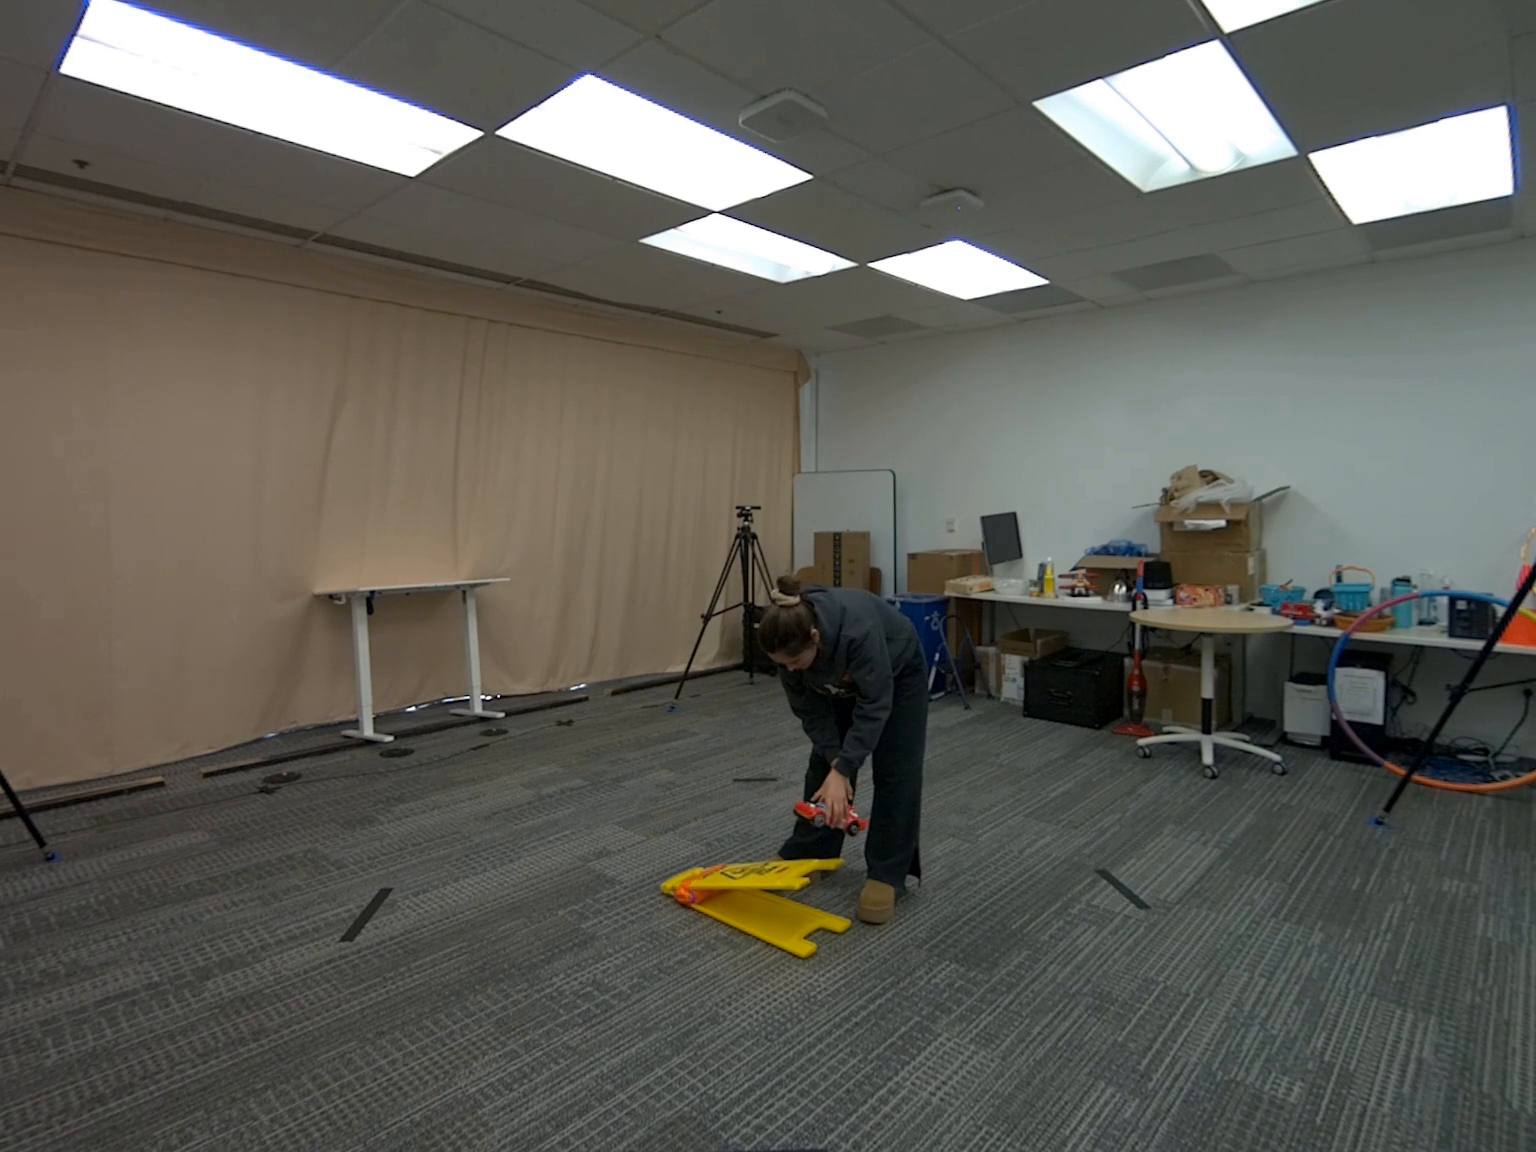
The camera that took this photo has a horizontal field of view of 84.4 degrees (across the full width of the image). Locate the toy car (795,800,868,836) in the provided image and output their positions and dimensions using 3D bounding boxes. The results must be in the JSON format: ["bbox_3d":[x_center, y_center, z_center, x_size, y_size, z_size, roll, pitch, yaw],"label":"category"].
[{"bbox_3d":[0.224,0.766,2.674,0.247,0.083,0.134,10,-5,-32],"label":"toy car"}]
